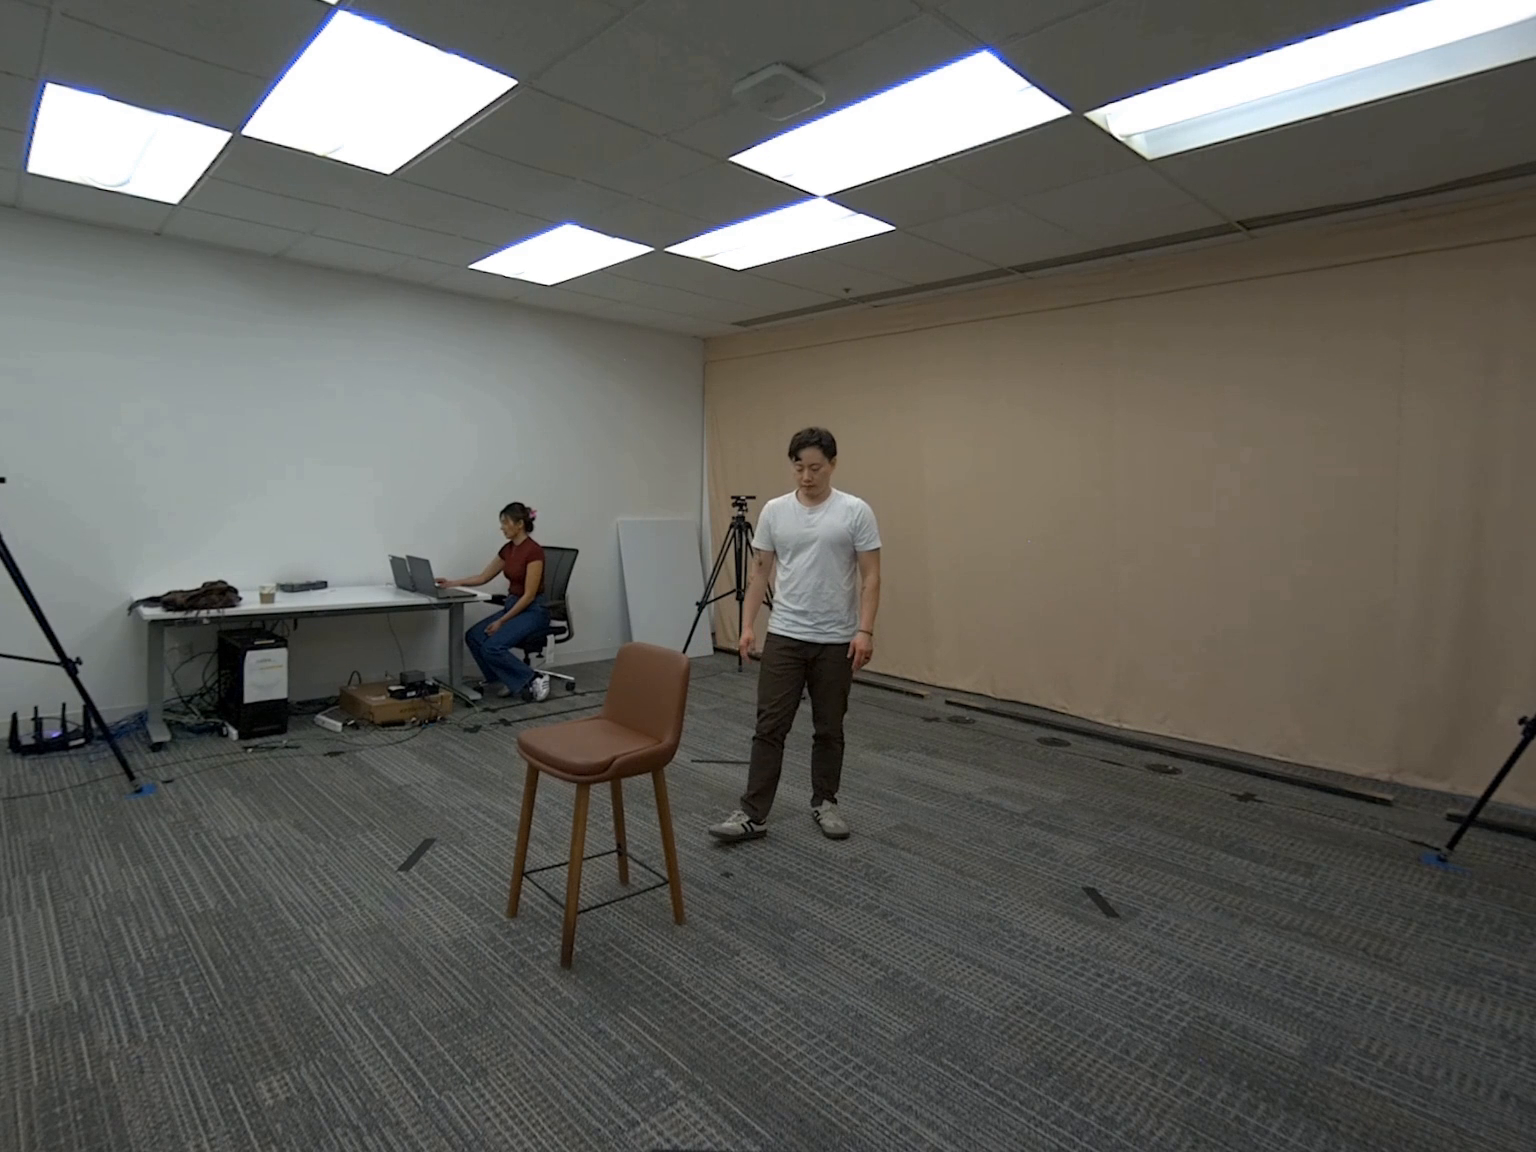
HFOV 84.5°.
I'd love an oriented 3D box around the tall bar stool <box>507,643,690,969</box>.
[{"bbox_3d":[-0.553,0.697,2.728,0.457,0.888,0.468,0,3,-40],"label":"tall bar stool"}]
